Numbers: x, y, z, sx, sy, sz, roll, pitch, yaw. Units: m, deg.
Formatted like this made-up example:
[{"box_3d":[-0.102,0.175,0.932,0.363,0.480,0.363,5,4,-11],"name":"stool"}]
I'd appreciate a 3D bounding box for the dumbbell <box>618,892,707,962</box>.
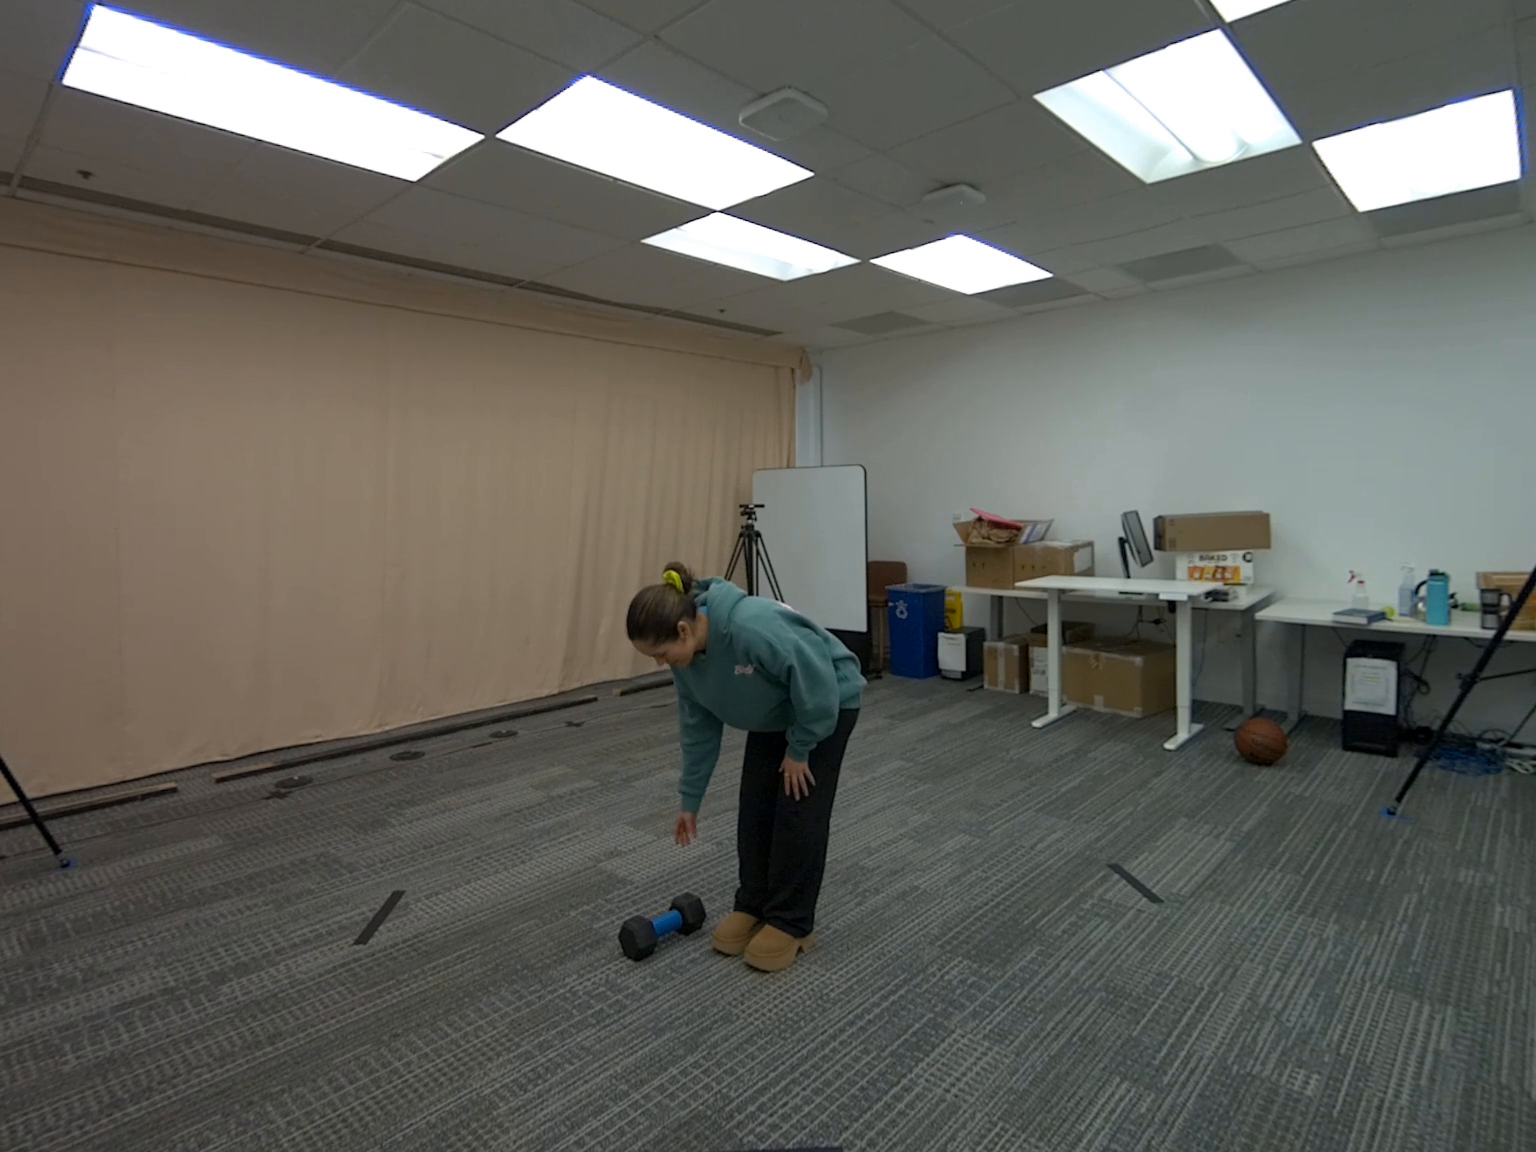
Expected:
[{"box_3d":[-0.333,1.122,2.694,0.285,0.125,0.110,-5,-26,-46],"name":"dumbbell"}]
